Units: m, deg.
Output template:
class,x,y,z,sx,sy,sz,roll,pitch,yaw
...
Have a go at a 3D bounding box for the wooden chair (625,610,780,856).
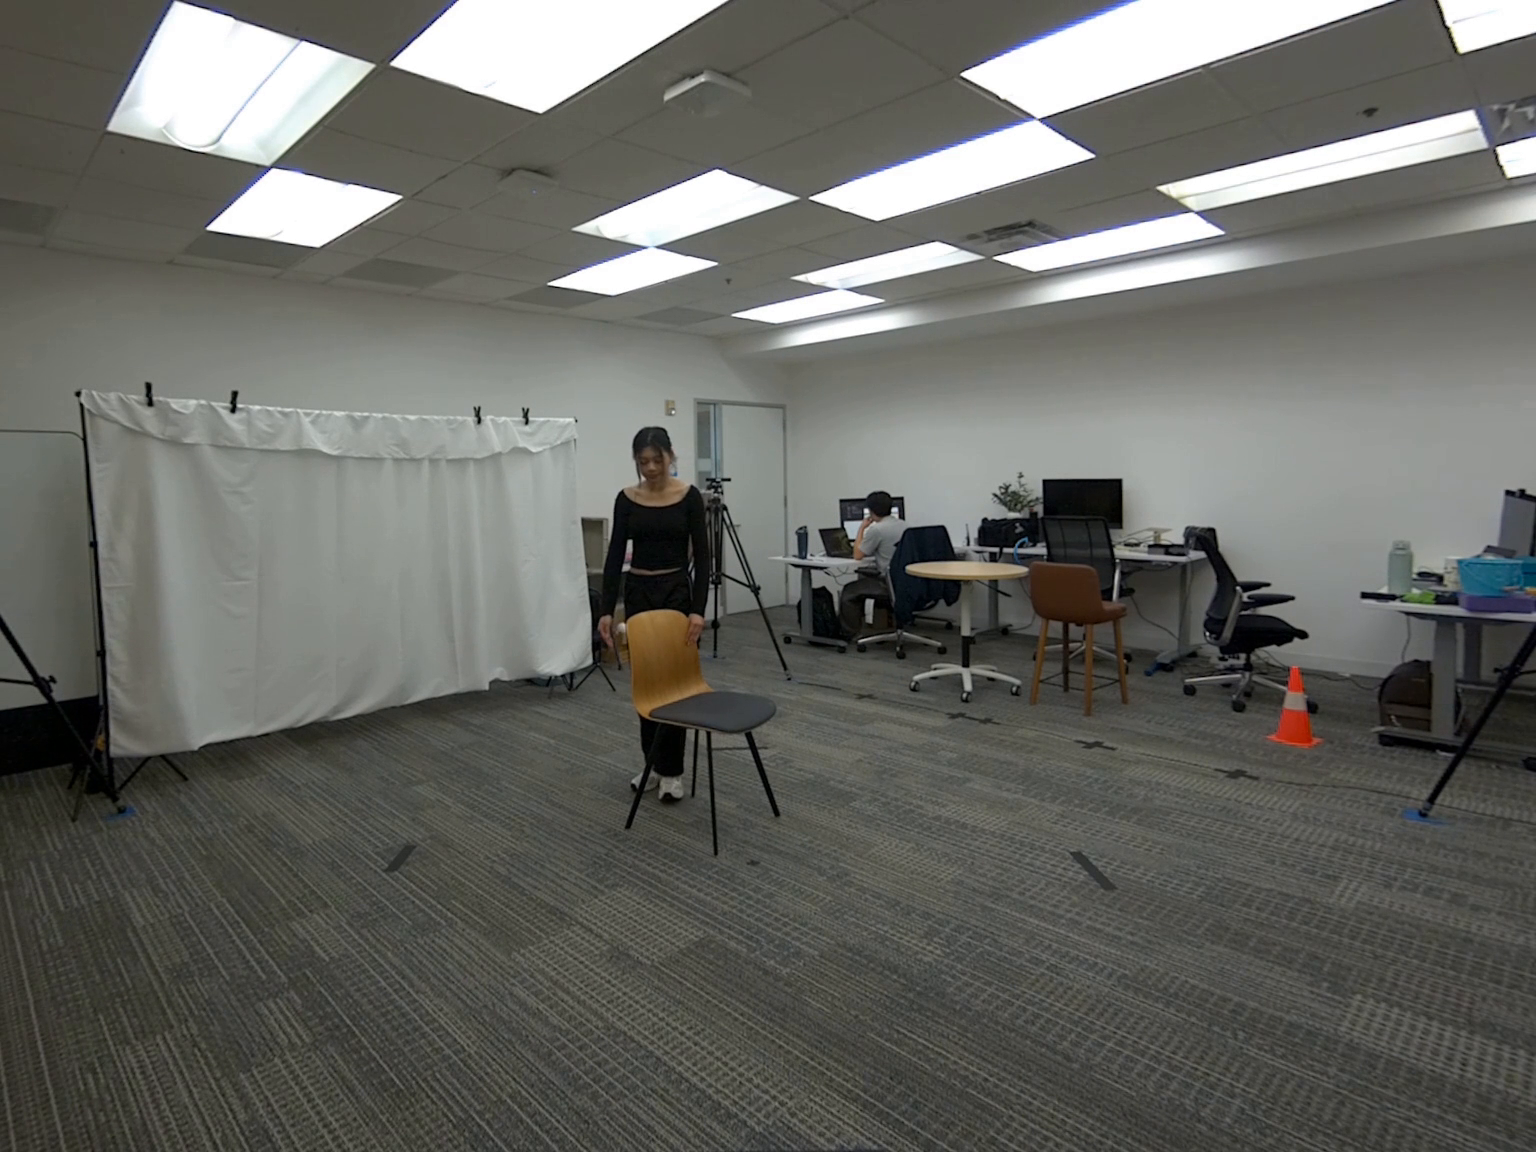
class,x,y,z,sx,sy,sz,roll,pitch,yaw
wooden chair,-0.261,0.579,3.438,0.537,0.877,0.466,-4,1,35
